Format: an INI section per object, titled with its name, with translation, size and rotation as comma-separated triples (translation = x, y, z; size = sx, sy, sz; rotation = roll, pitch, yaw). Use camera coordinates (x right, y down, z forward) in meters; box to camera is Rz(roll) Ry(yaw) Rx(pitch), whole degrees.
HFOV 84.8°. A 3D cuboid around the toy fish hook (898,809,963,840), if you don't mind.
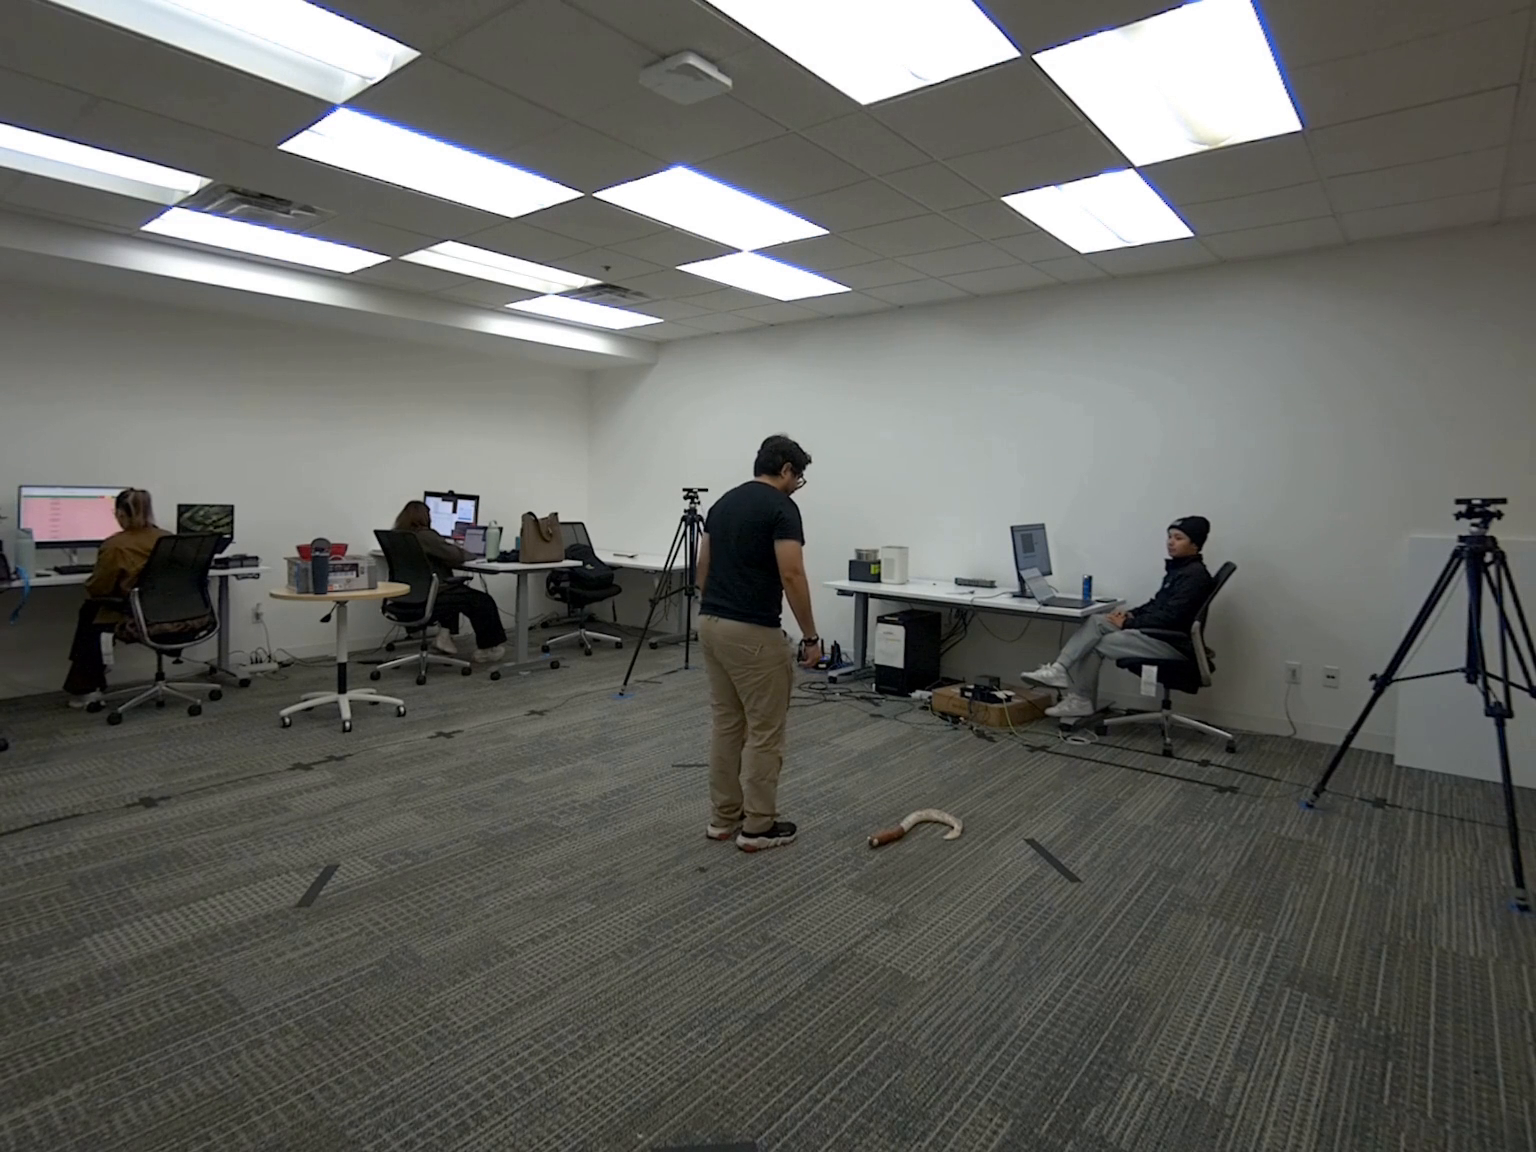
[toy fish hook]
translation = 0.603, 1.039, 3.453
size = 0.491, 0.048, 0.232
rotation = -5, 9, -44
